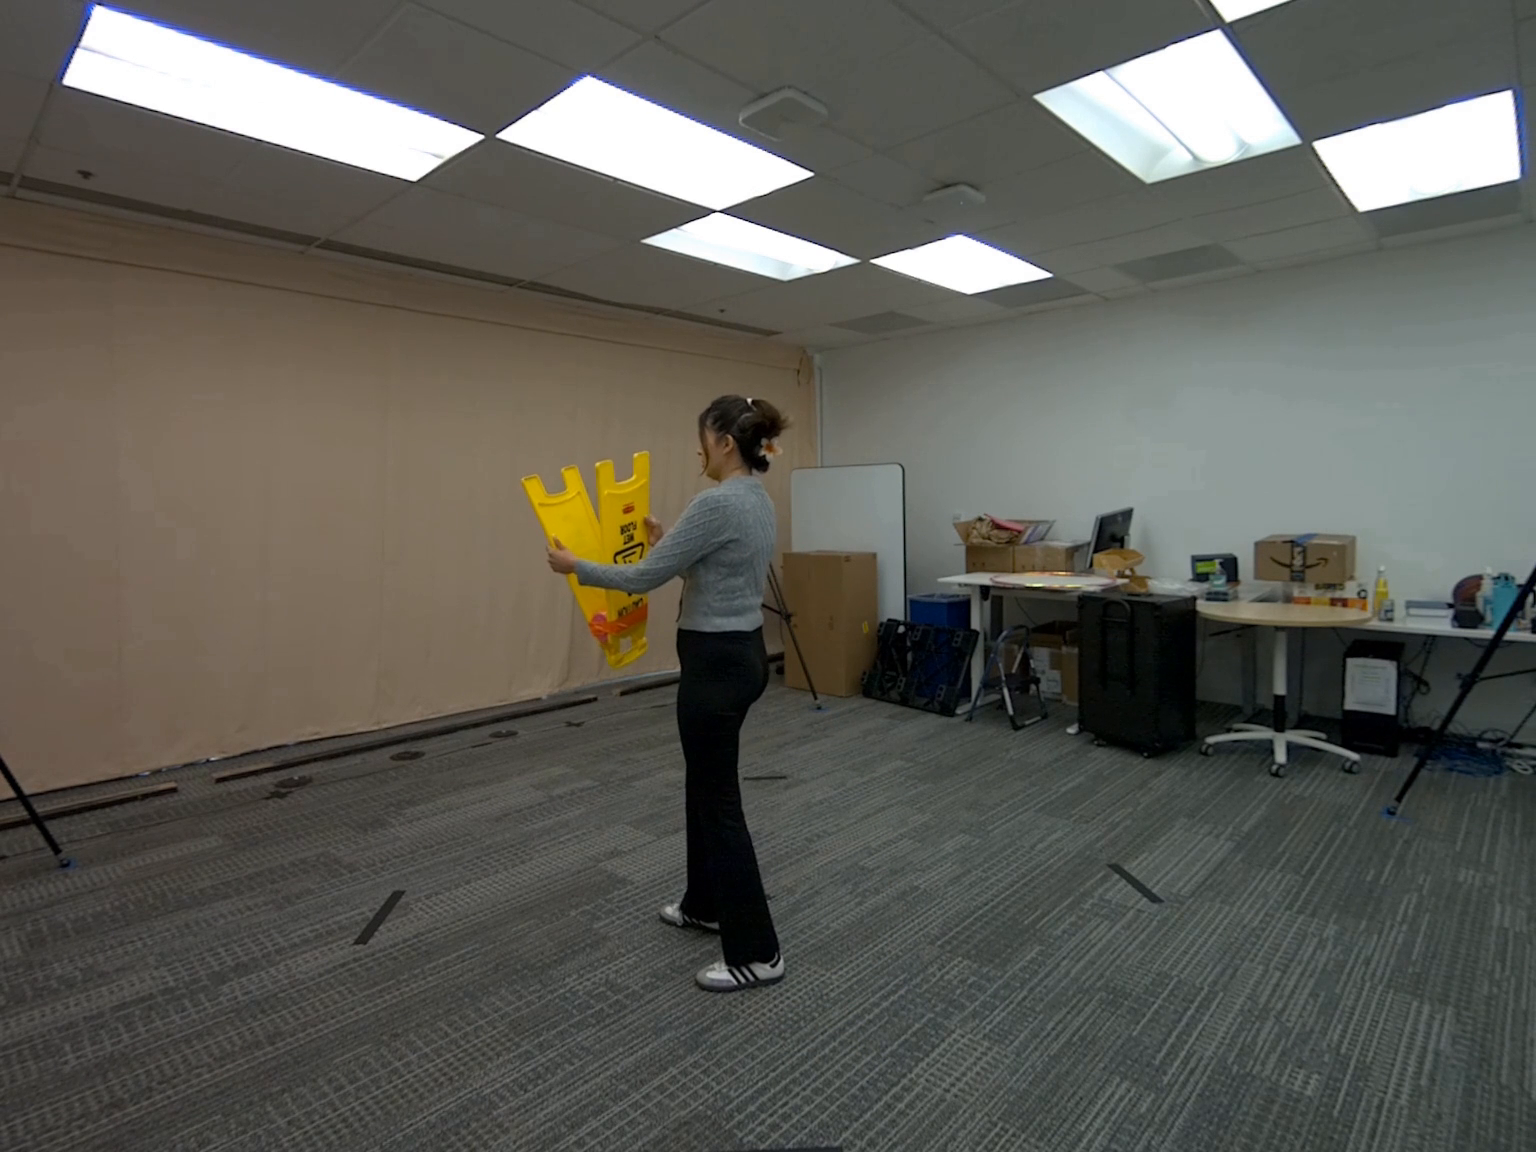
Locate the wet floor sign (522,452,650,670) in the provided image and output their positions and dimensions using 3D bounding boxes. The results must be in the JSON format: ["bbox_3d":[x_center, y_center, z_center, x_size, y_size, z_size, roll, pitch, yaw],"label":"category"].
[{"bbox_3d":[-0.505,-0.036,2.669,0.297,0.641,0.277,-7,10,27],"label":"wet floor sign"}]
